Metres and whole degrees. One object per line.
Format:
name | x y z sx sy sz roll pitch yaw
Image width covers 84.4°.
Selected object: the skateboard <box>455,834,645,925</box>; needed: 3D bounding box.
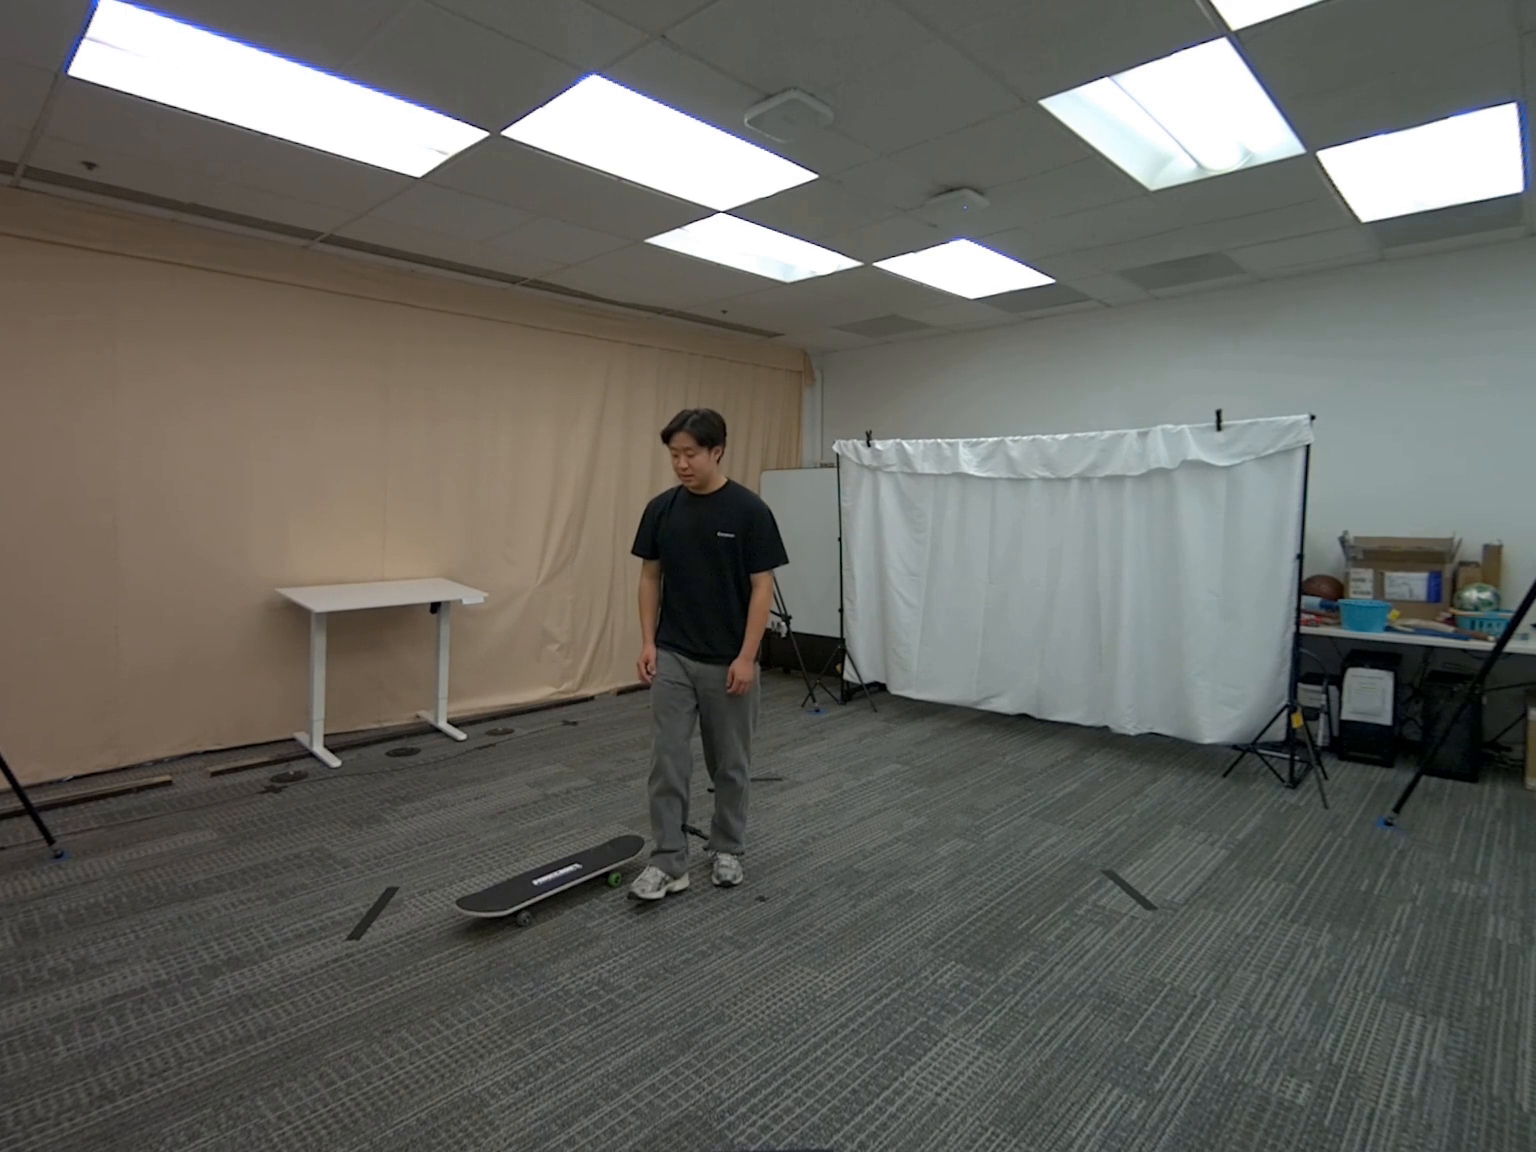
skateboard | -0.746 1.093 2.997 0.200 0.110 0.762 3 6 40
